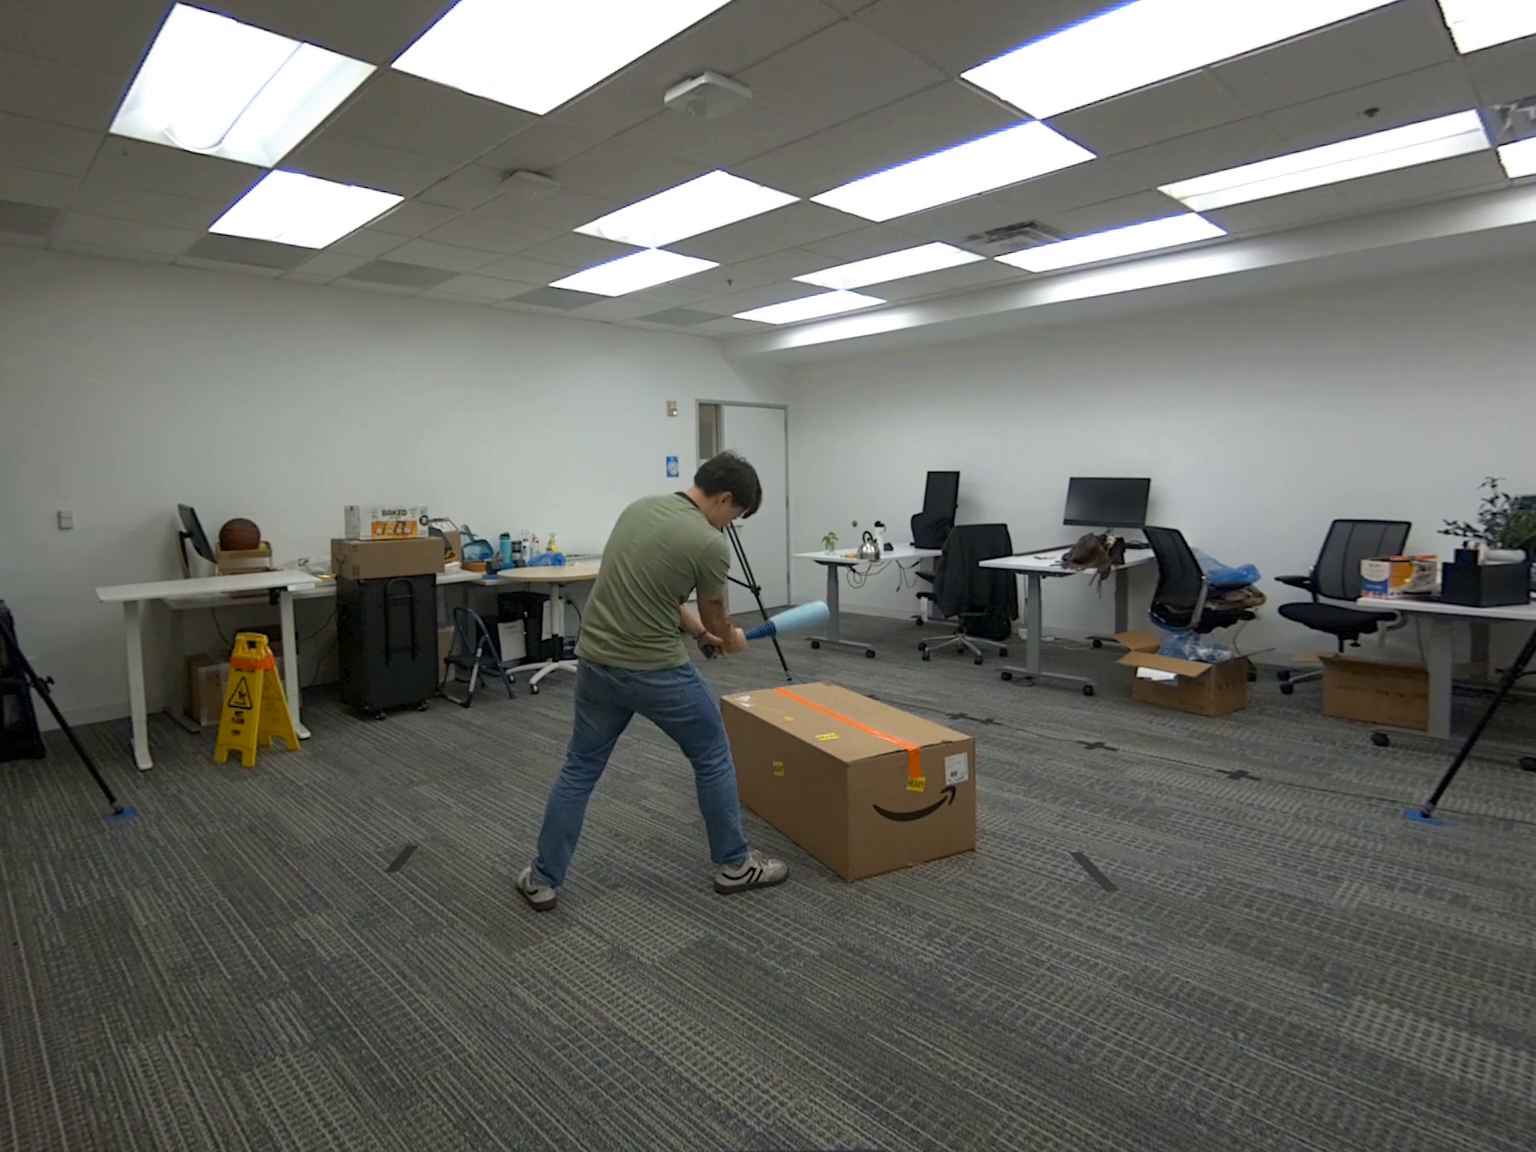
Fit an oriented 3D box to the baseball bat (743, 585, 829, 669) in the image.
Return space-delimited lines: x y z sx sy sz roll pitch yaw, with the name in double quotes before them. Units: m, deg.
"baseball bat" -0.026 0.188 3.238 0.535 0.088 0.091 -17 11 -23
